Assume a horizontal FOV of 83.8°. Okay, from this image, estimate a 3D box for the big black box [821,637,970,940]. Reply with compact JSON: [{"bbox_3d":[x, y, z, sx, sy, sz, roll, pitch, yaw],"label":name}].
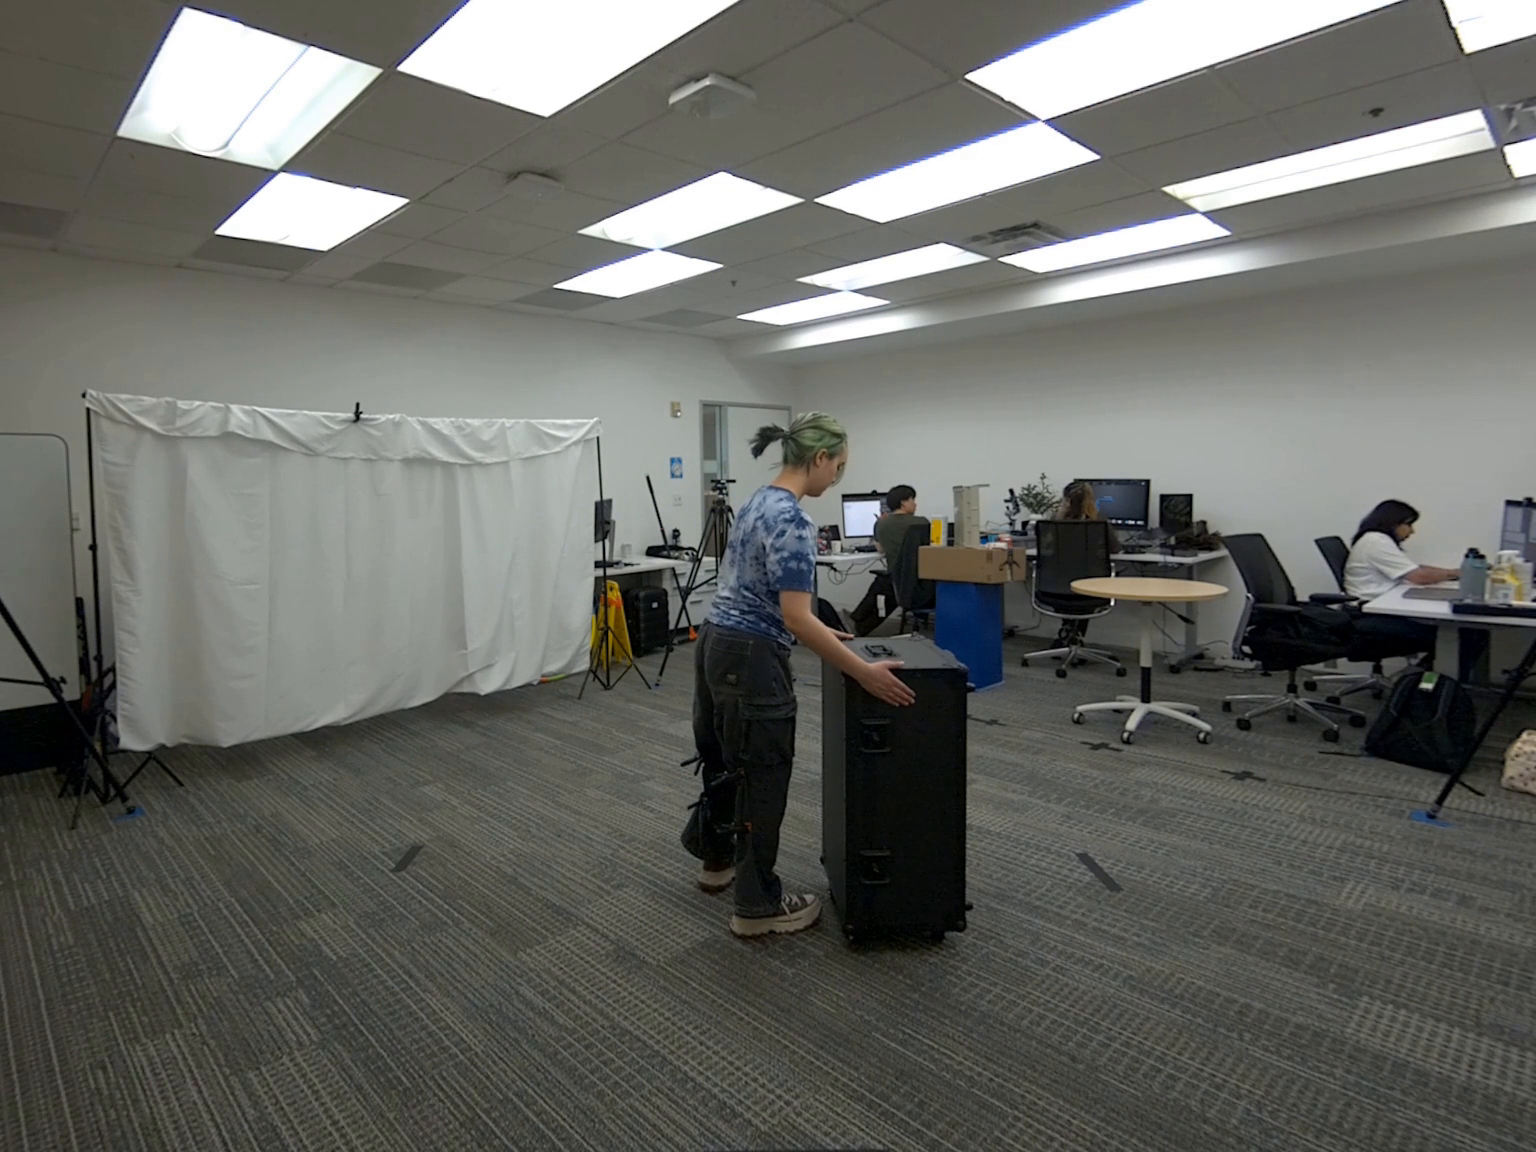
[{"bbox_3d":[0.392,0.659,2.704,0.395,0.859,0.525,0,4,-5],"label":"big black box"}]
